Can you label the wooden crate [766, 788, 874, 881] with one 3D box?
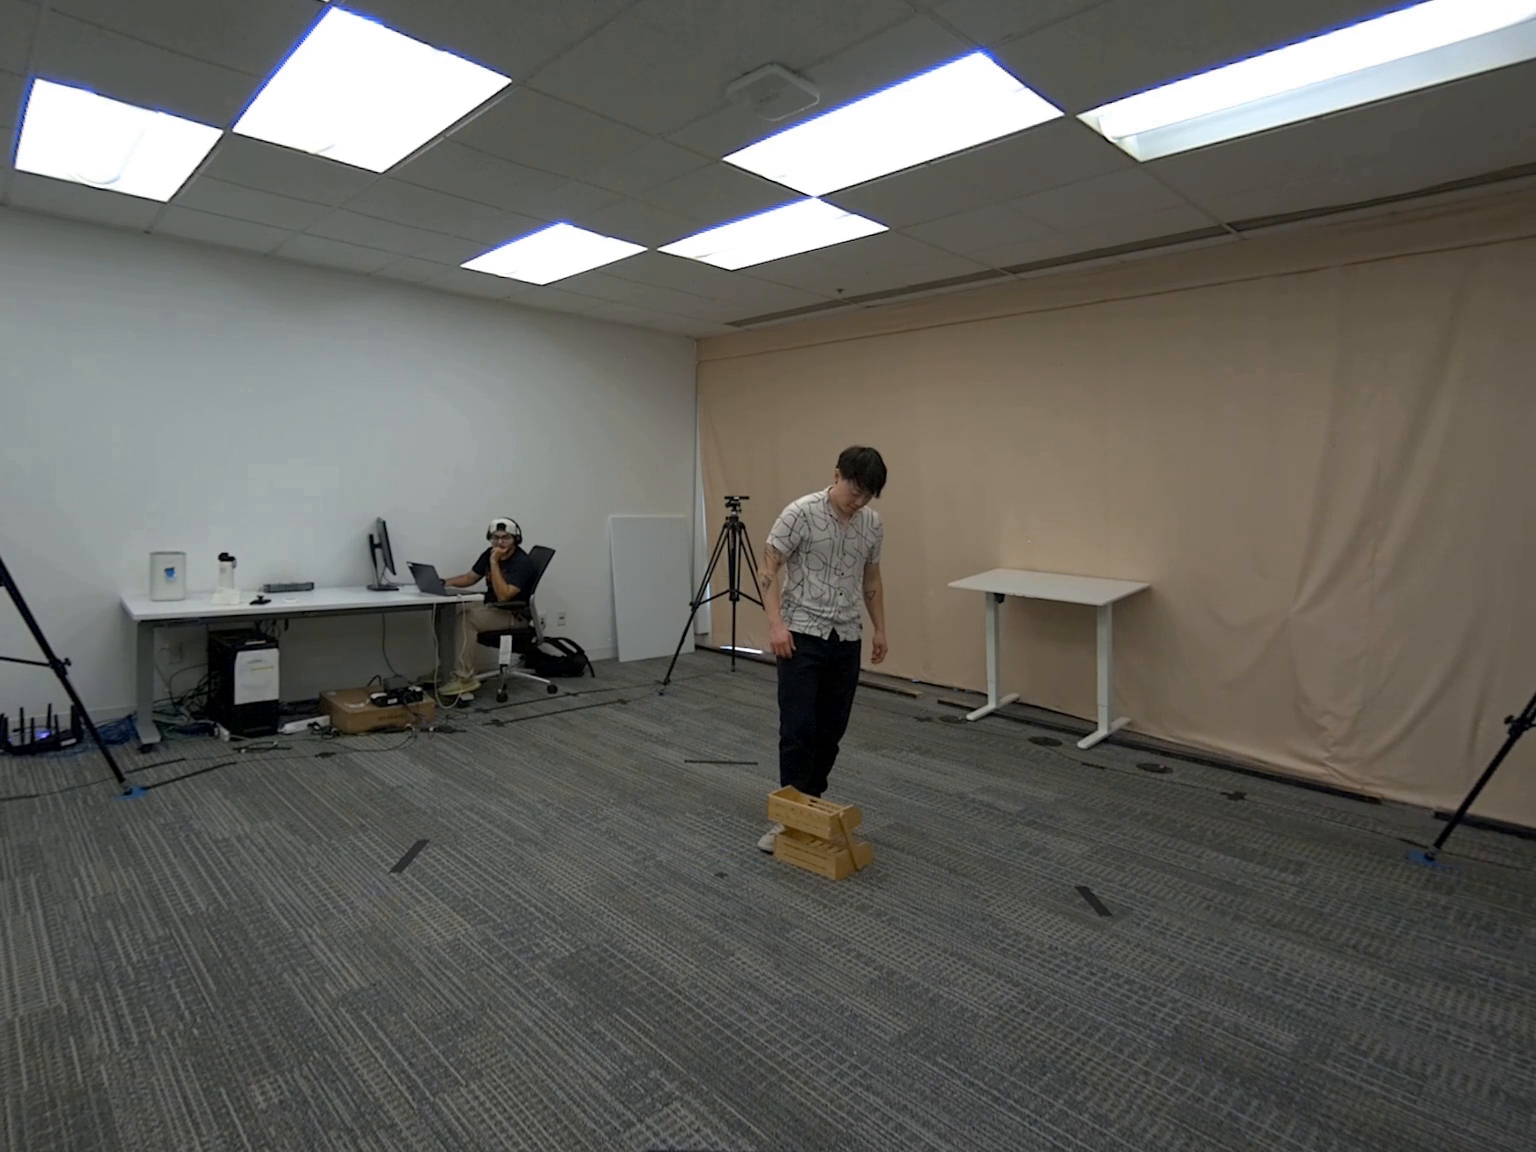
[{"bbox_3d":[0.193,0.966,3.239,0.332,0.272,0.295,5,6,40],"label":"wooden crate"}]
